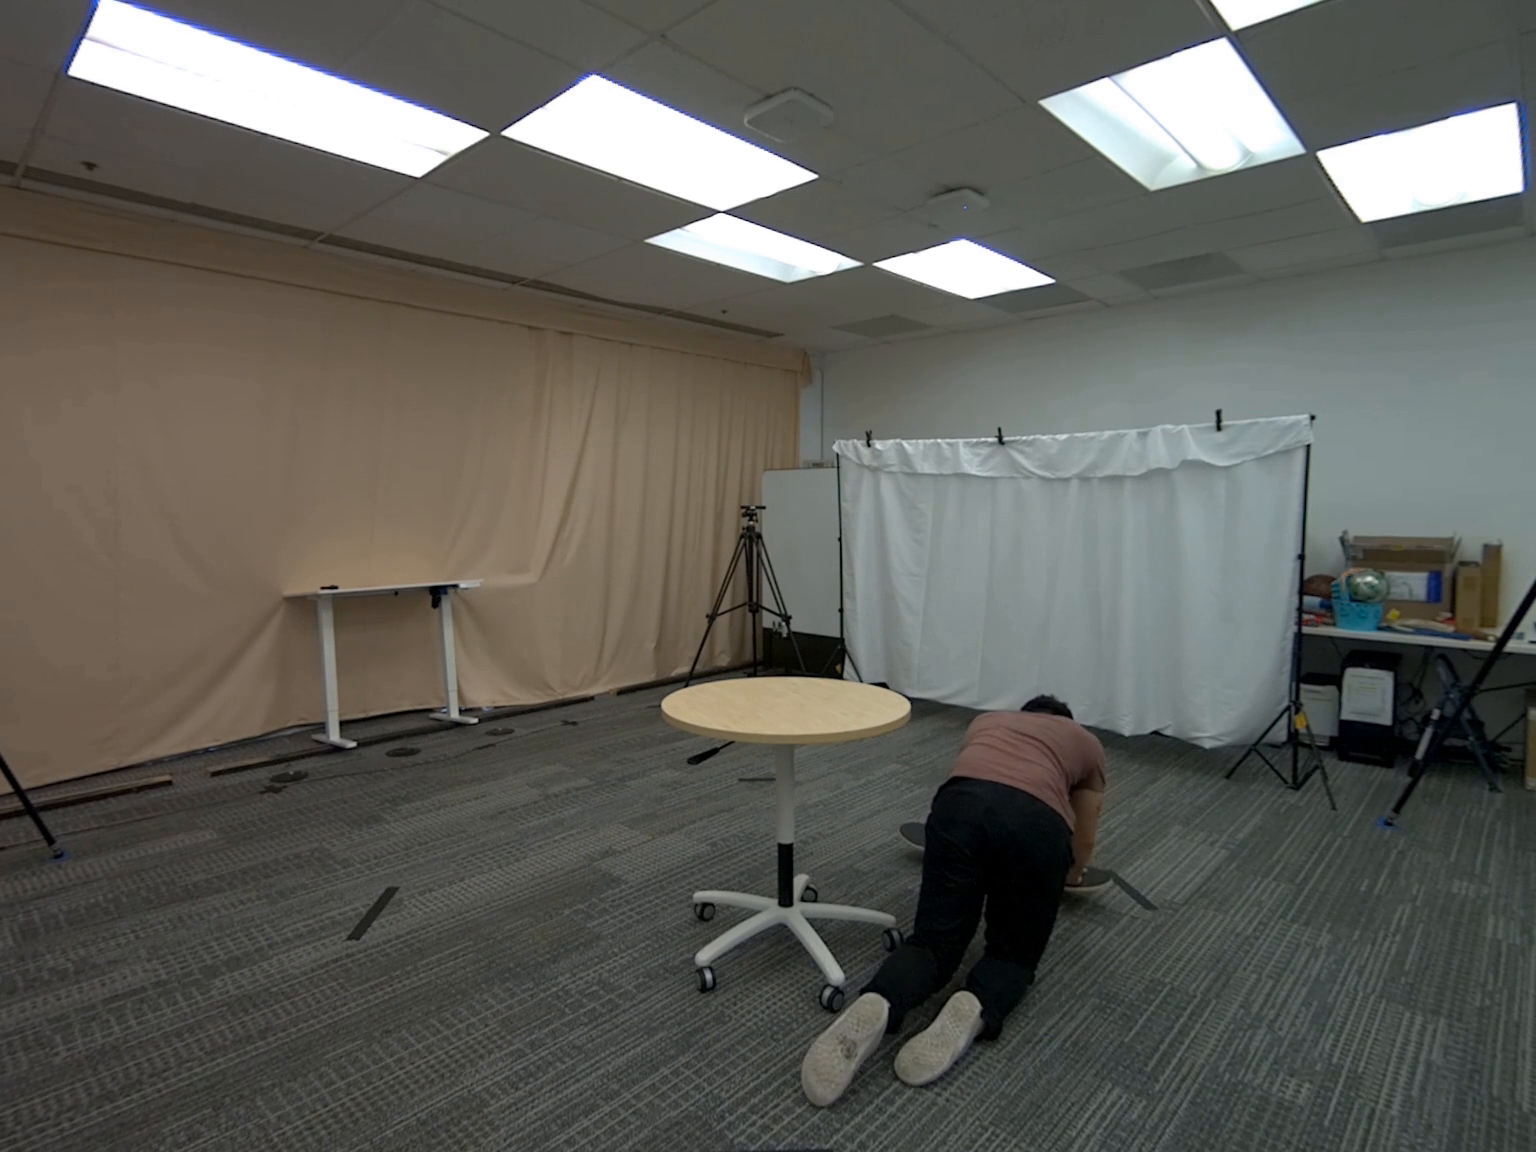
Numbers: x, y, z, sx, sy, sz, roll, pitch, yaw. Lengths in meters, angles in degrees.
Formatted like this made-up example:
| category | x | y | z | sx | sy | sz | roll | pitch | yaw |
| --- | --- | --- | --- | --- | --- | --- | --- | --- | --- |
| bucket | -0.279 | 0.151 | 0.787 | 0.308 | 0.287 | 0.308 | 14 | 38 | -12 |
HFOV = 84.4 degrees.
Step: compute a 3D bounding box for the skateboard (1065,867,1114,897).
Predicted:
| category | x | y | z | sx | sy | sz | roll | pitch | yaw |
| --- | --- | --- | --- | --- | --- | --- | --- | --- | --- |
| skateboard | 0.859 | 1.069 | 3.134 | 0.811 | 0.110 | 0.188 | 4 | 7 | 38 |
